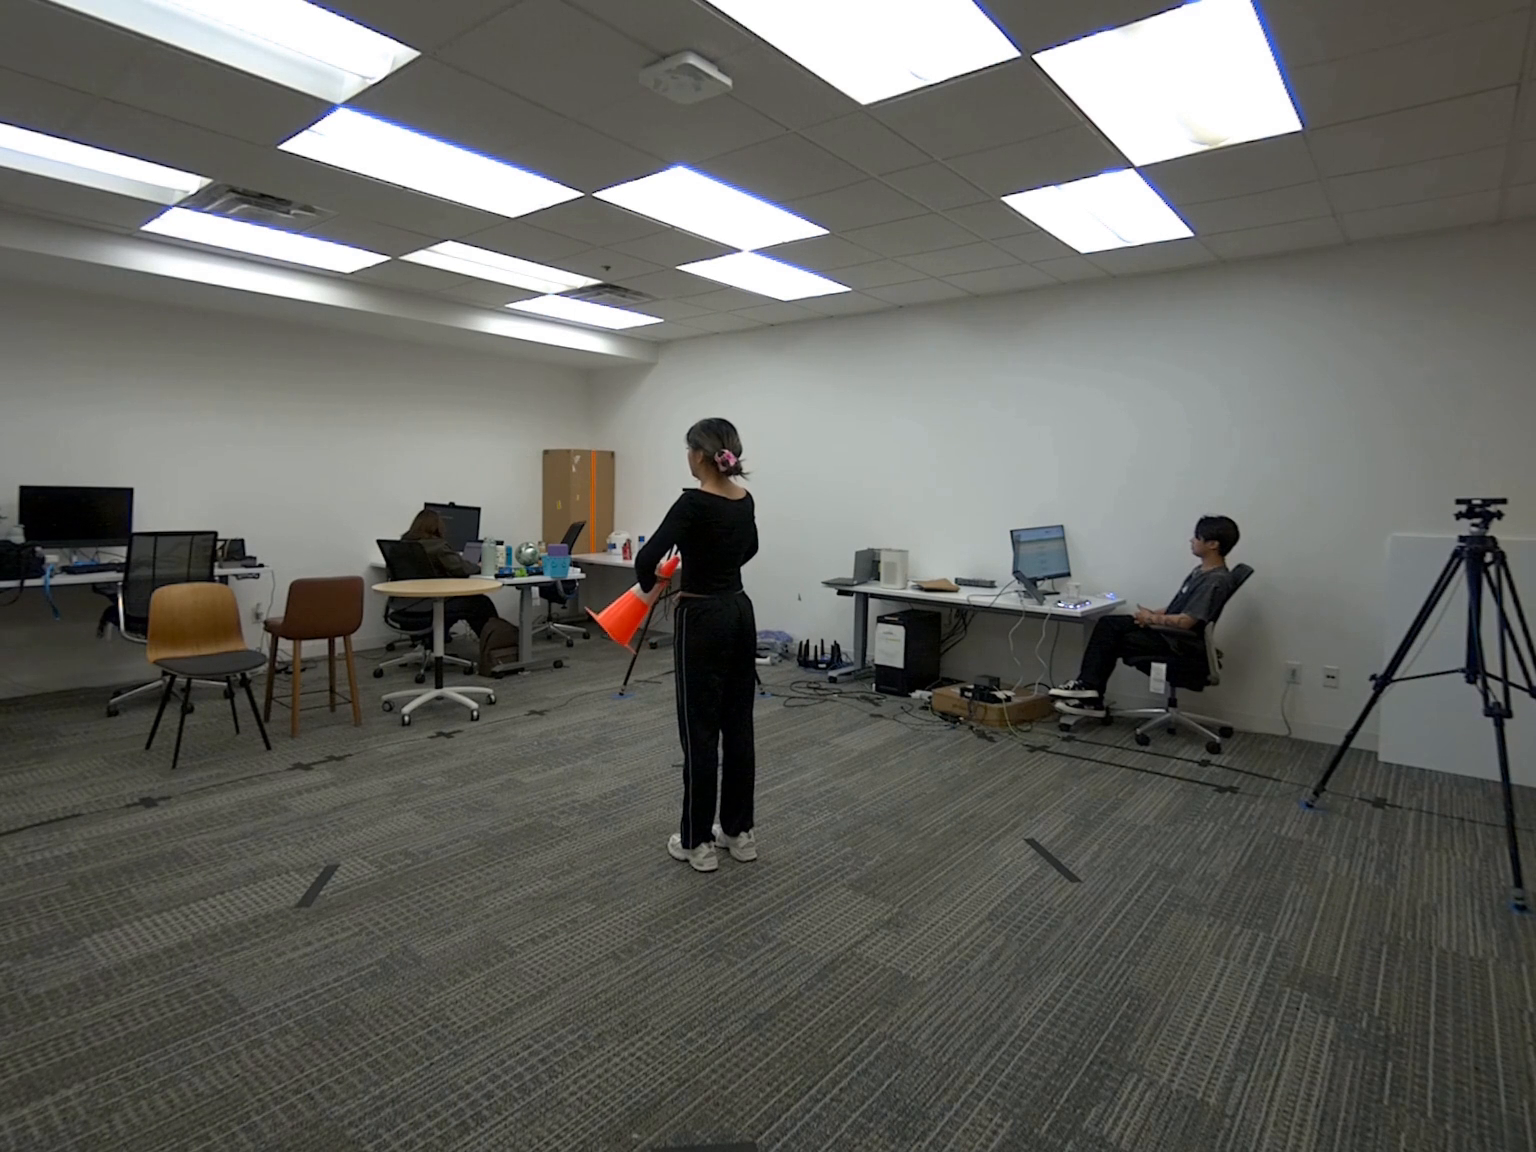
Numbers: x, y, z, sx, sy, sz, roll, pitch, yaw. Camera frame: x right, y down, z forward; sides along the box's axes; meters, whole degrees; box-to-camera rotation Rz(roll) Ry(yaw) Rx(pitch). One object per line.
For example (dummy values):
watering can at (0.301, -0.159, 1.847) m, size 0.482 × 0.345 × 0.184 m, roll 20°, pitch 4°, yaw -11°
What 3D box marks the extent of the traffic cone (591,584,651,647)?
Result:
traffic cone at (-0.480, 0.075, 3.254) m, size 0.211 × 0.383 × 0.197 m, roll 41°, pitch -5°, yaw 31°
